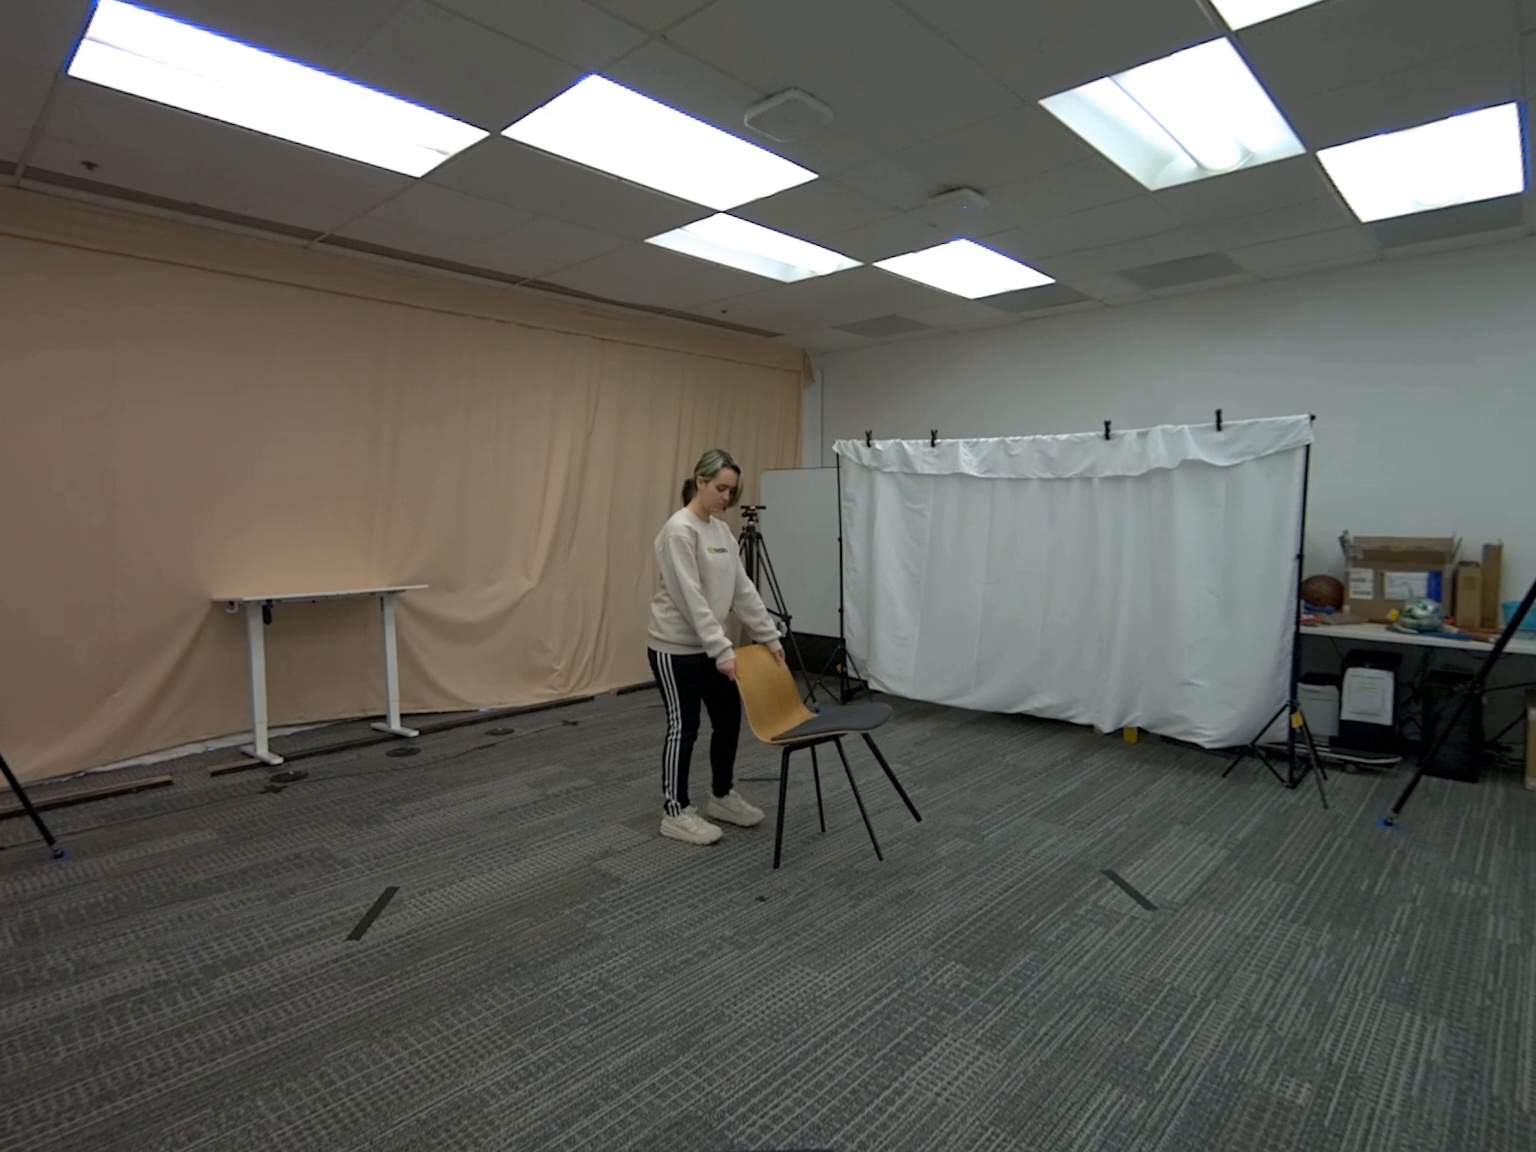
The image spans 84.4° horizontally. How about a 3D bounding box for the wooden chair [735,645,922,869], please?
[{"bbox_3d":[0.222,0.638,3.324,0.533,0.884,0.465,-23,-9,30],"label":"wooden chair"}]
